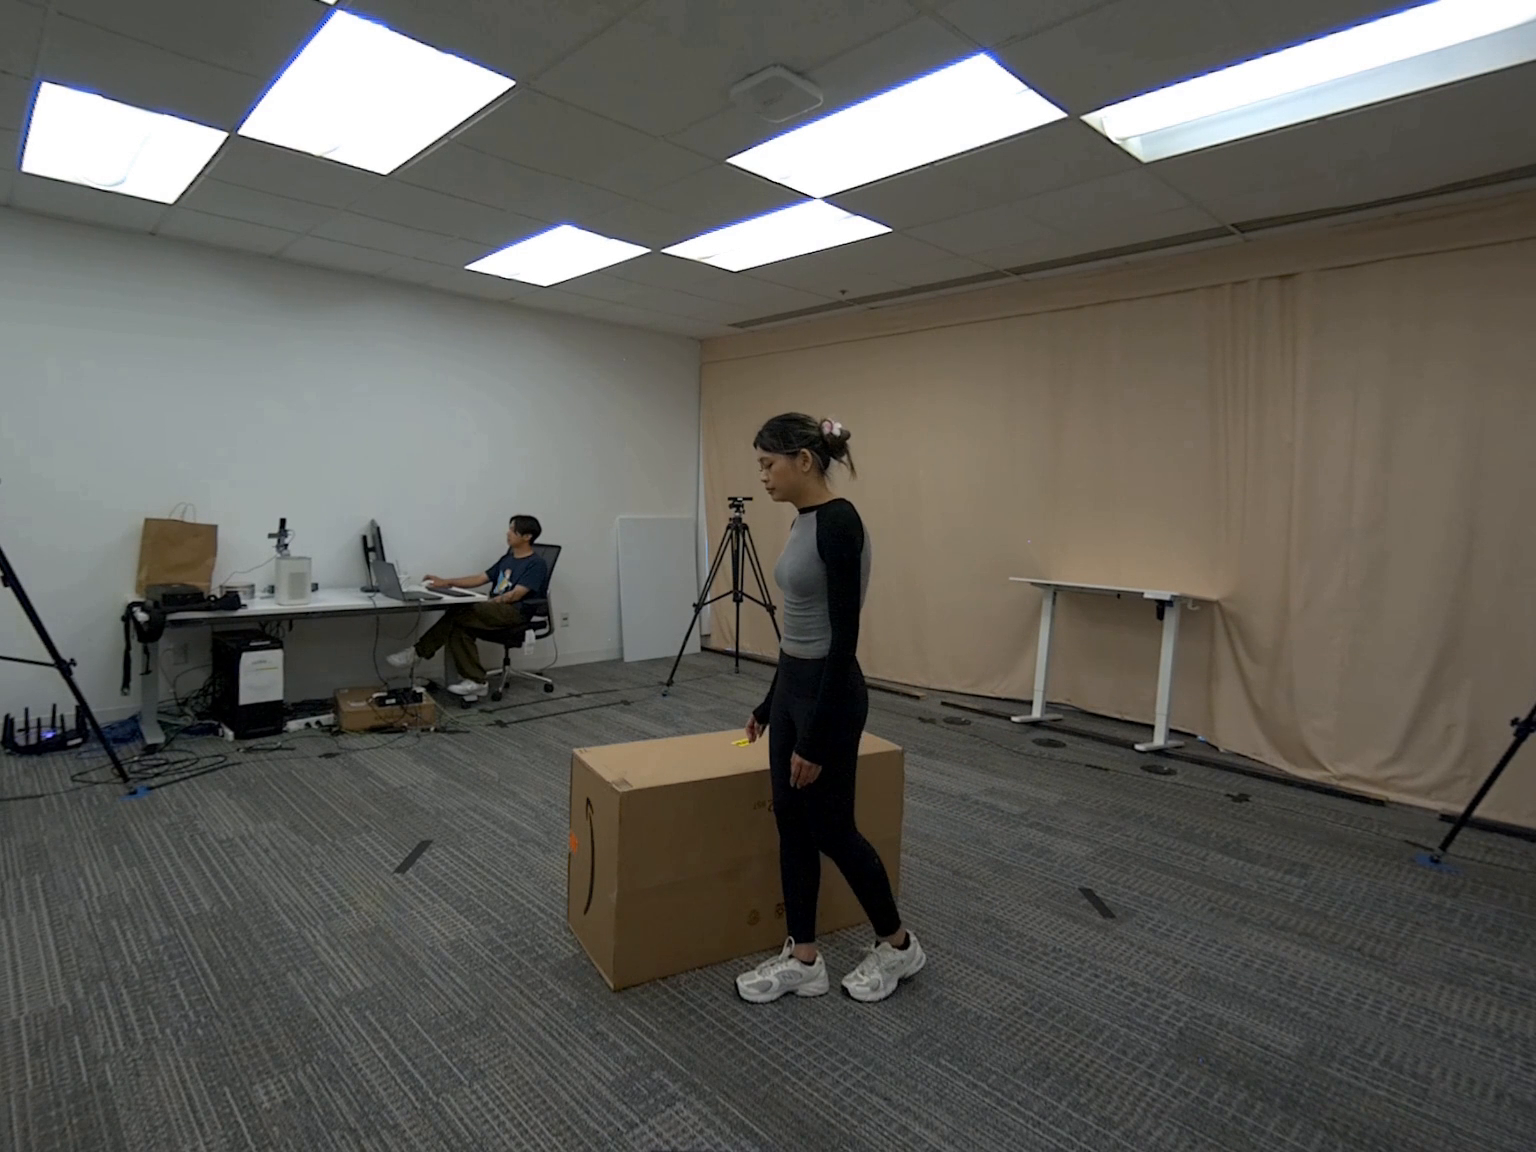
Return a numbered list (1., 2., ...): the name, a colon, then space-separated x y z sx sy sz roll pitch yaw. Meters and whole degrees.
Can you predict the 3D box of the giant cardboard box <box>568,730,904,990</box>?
1. giant cardboard box: -0.101 0.851 2.771 1.005 0.576 0.436 -1 5 -29
